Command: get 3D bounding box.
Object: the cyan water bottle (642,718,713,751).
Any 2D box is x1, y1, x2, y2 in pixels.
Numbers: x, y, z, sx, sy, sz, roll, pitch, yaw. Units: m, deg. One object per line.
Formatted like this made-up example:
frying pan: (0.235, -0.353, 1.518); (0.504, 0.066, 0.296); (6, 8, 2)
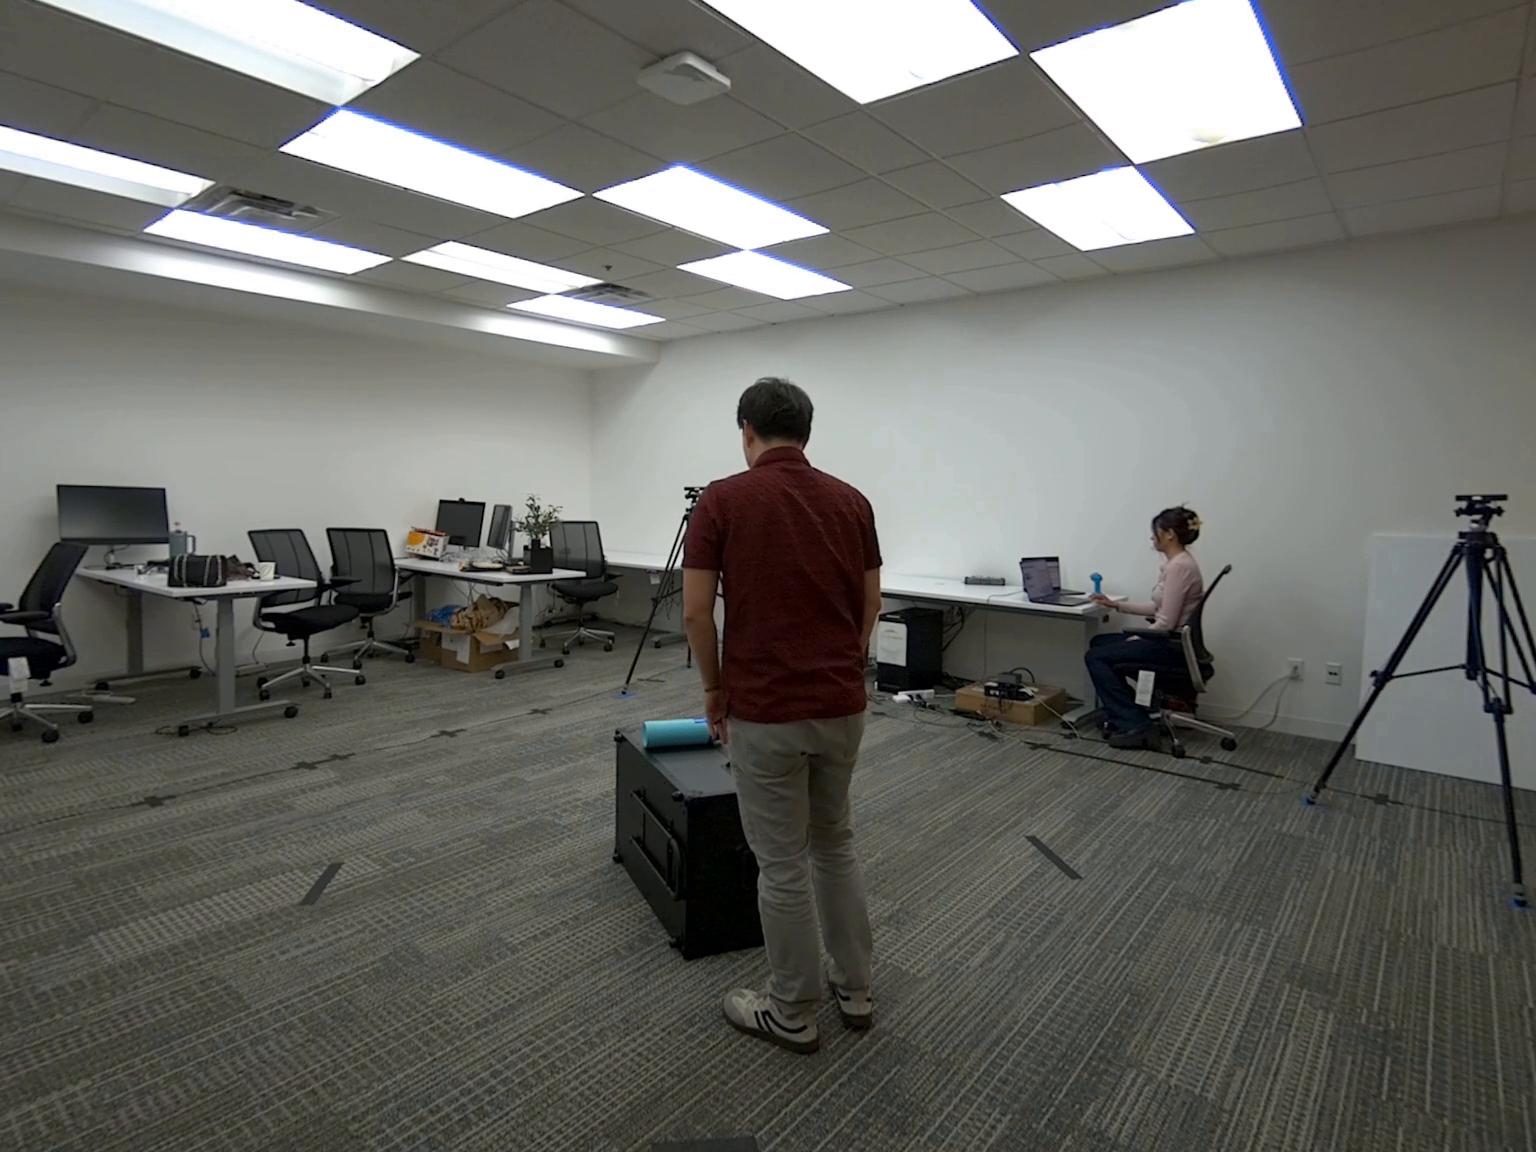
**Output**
cyan water bottle: (-0.307, 0.545, 2.996); (0.279, 0.092, 0.094); (-1, 4, -14)
